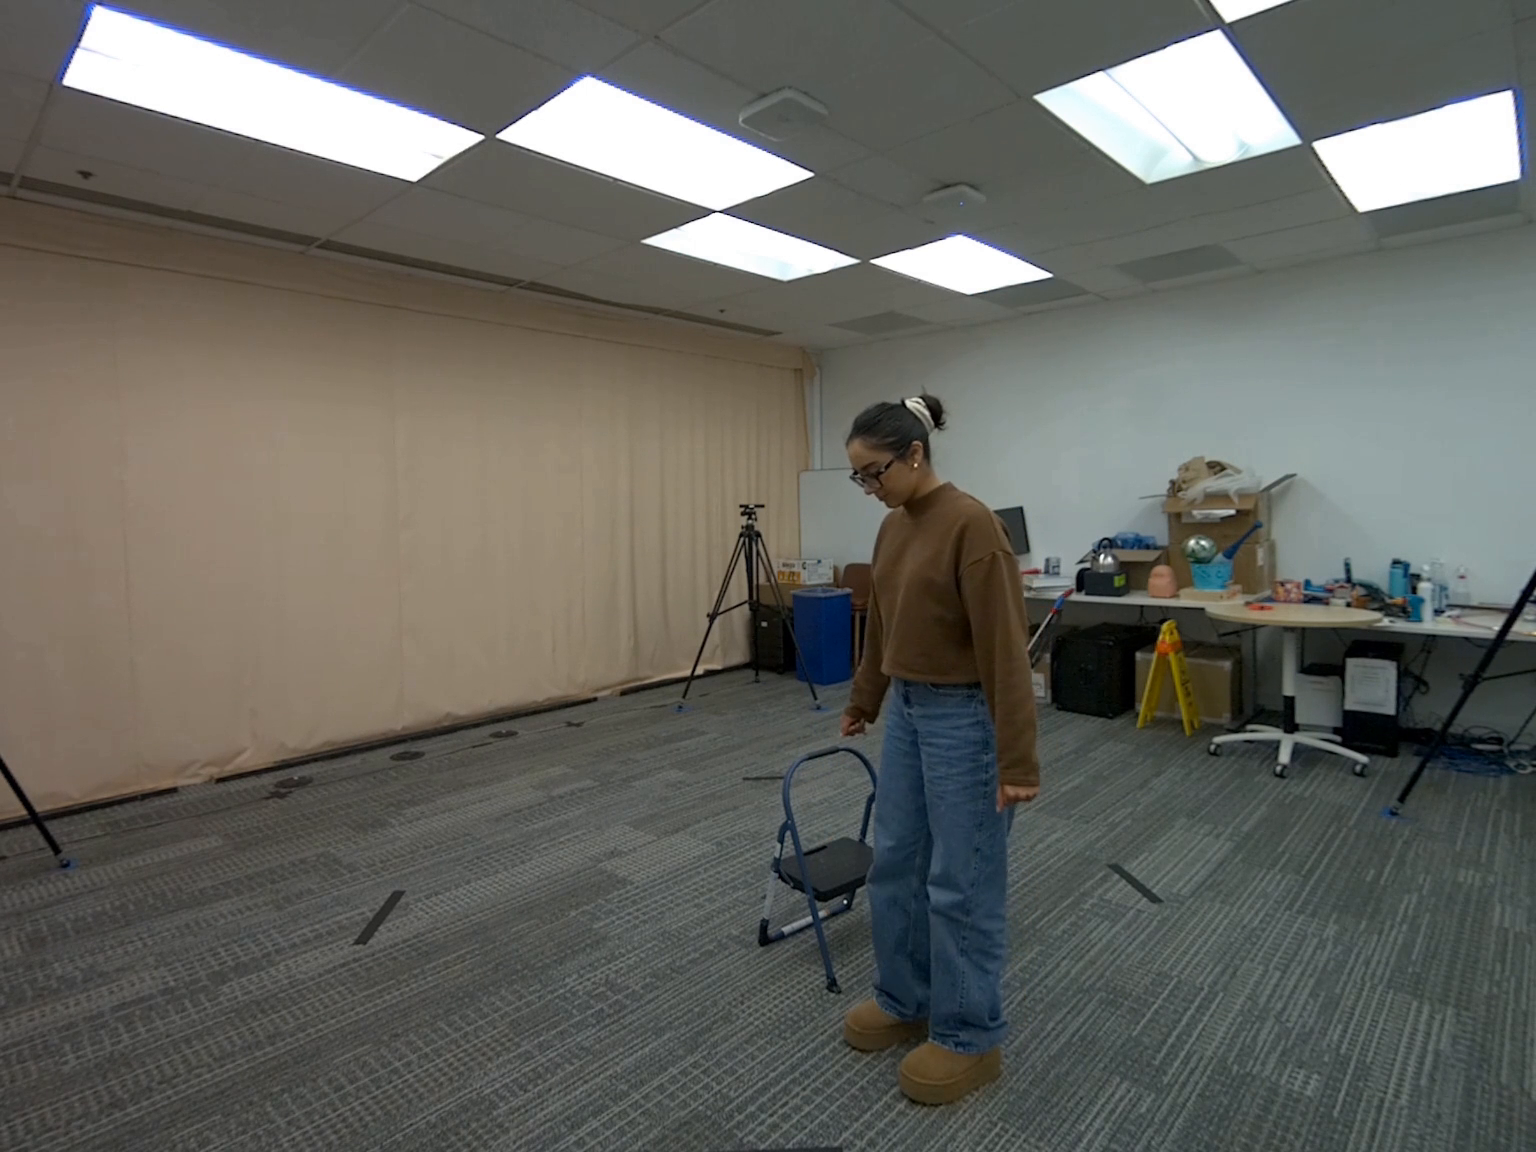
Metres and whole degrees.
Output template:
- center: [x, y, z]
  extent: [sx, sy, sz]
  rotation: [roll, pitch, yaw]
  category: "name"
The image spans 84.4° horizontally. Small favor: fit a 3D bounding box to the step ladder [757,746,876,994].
- center: [0.234, 0.863, 2.637]
  extent: [0.418, 0.605, 0.361]
  rotation: [-4, 4, -40]
  category: "step ladder"
